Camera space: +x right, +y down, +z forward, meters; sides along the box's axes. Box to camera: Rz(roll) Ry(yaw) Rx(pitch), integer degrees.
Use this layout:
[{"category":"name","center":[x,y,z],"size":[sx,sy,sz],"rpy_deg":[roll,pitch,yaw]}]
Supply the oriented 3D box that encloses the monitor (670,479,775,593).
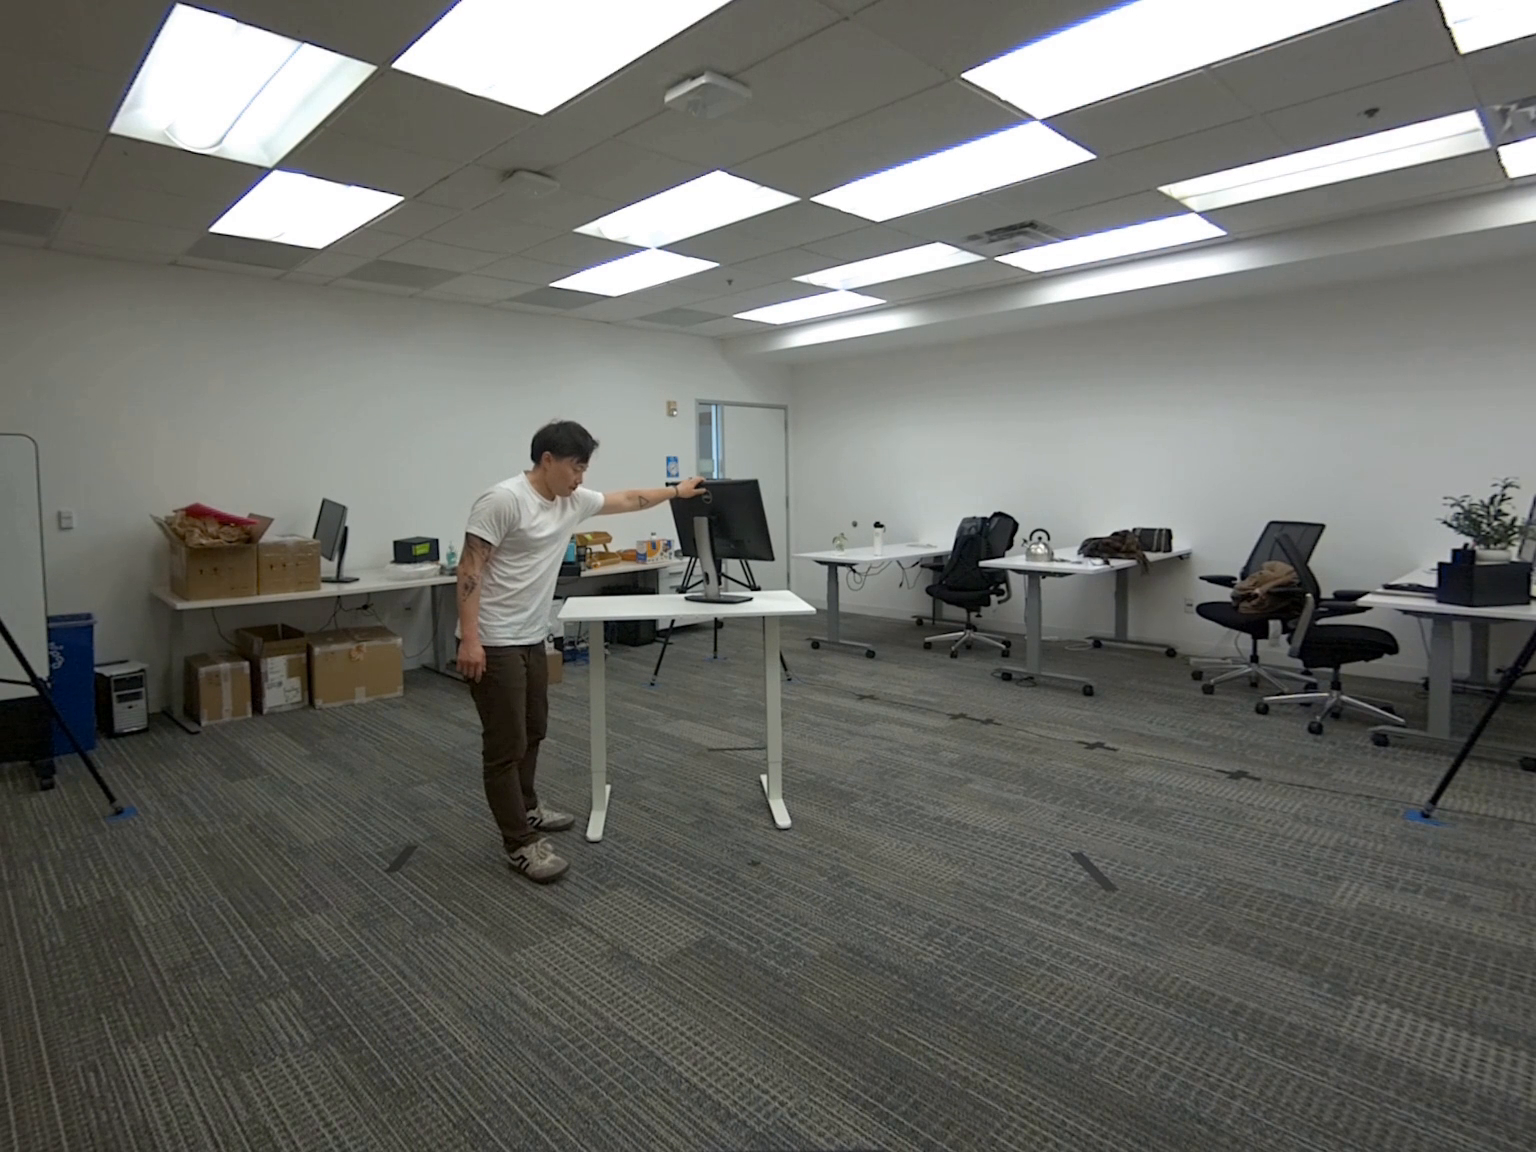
[{"category":"monitor","center":[-0.229,-0.146,3.644],"size":[0.555,0.520,0.182],"rpy_deg":[3,7,40]}]
